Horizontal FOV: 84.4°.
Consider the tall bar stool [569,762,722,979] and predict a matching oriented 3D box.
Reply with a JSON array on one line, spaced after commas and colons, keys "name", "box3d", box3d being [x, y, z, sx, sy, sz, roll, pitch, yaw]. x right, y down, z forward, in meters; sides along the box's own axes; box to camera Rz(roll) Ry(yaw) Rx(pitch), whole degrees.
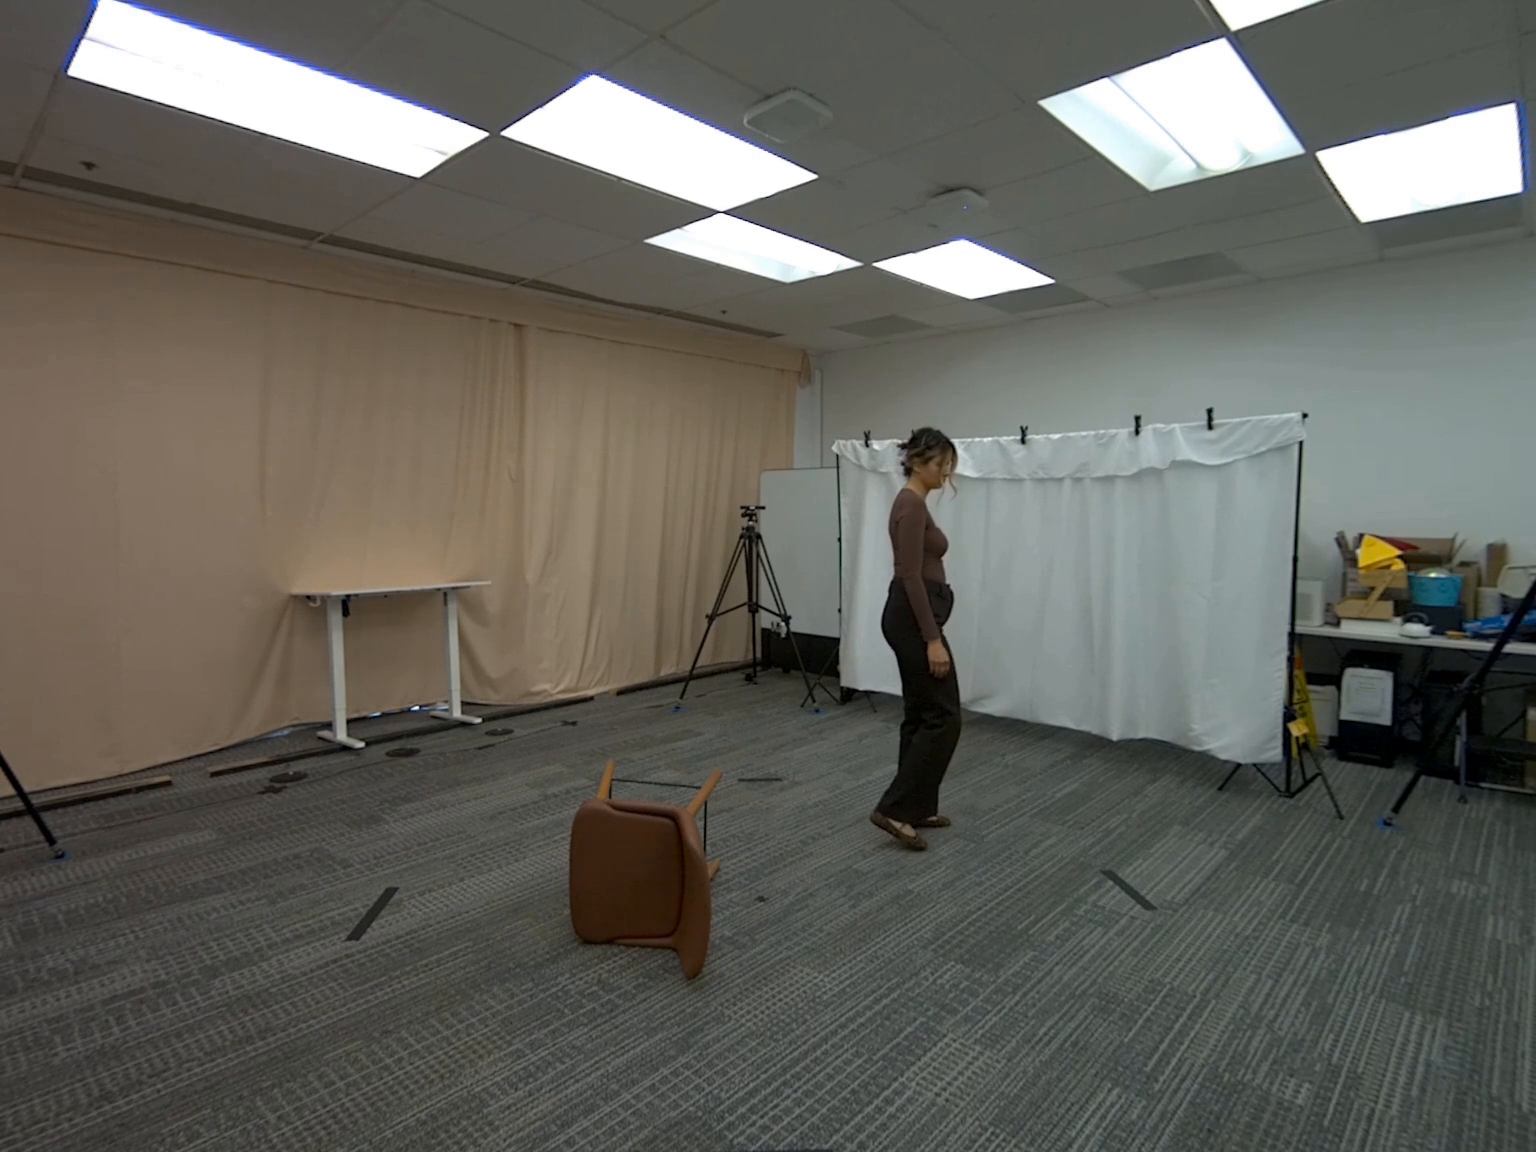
[{"name": "tall bar stool", "box3d": [-0.405, 0.944, 2.830, 0.468, 0.456, 0.890, 2, 2, 0]}]
